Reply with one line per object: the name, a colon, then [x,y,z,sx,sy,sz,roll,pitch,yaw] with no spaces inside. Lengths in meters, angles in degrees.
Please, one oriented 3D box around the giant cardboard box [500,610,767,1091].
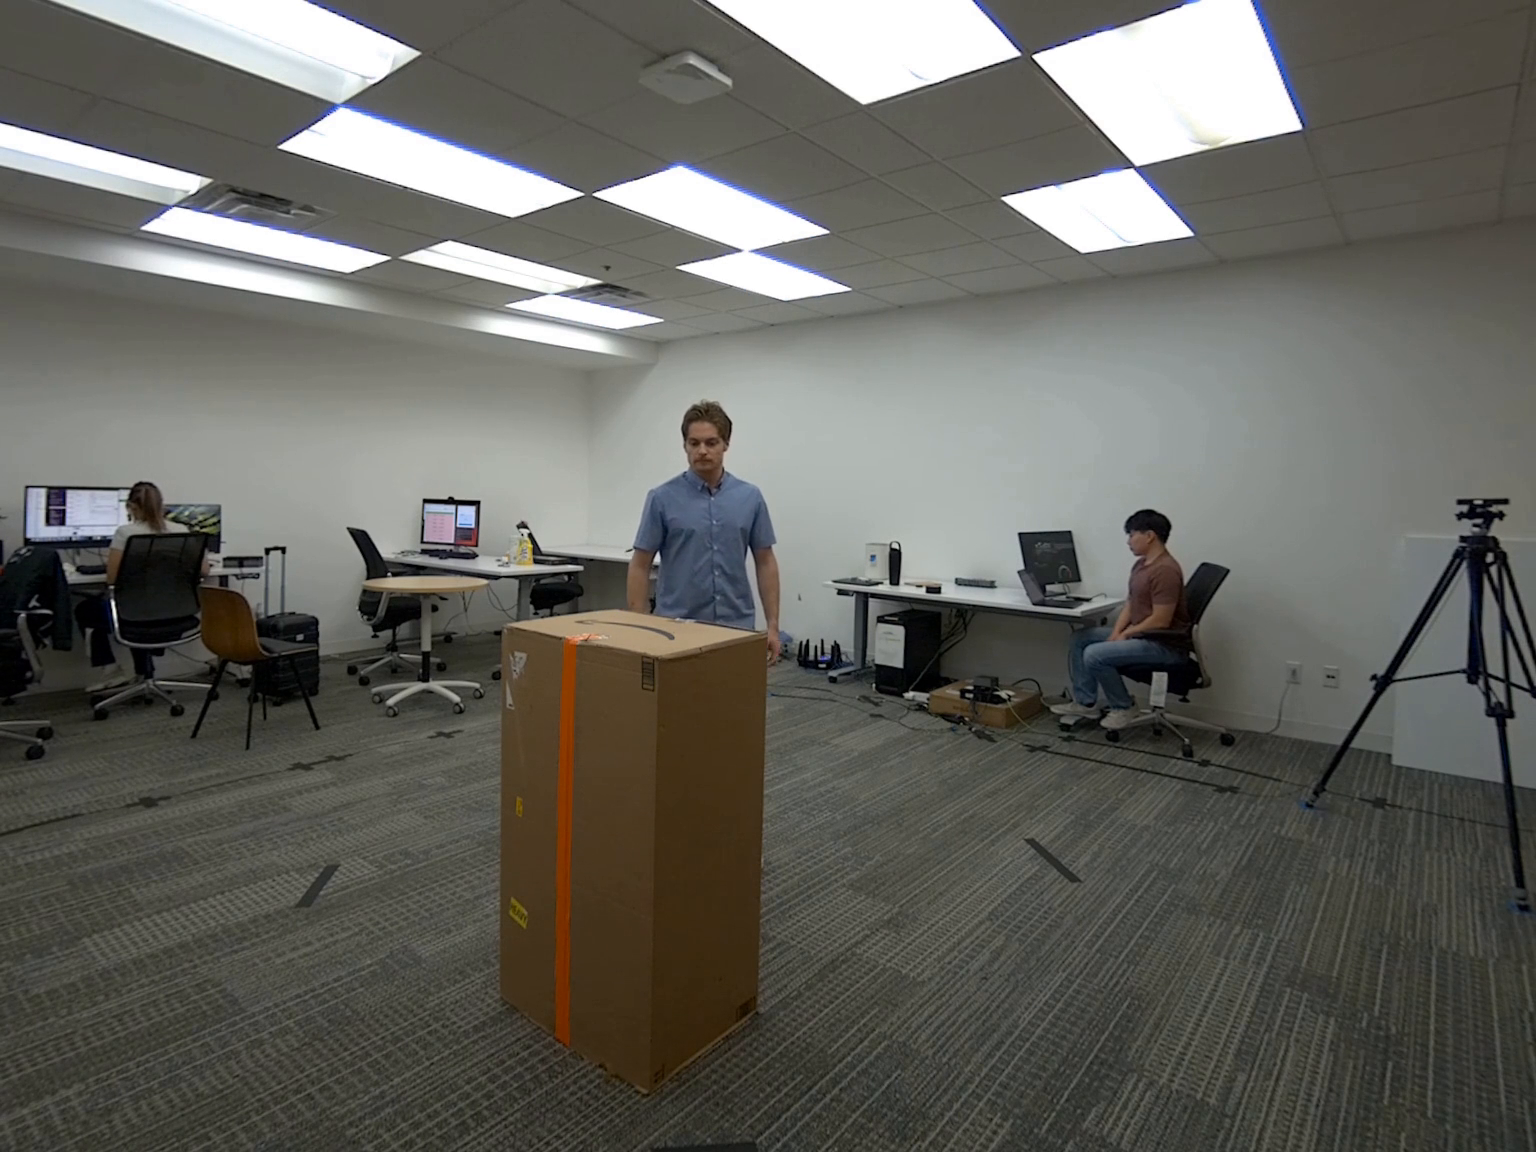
giant cardboard box: [-0.374,0.646,2.249,0.597,1.022,0.414,5,5,39]
